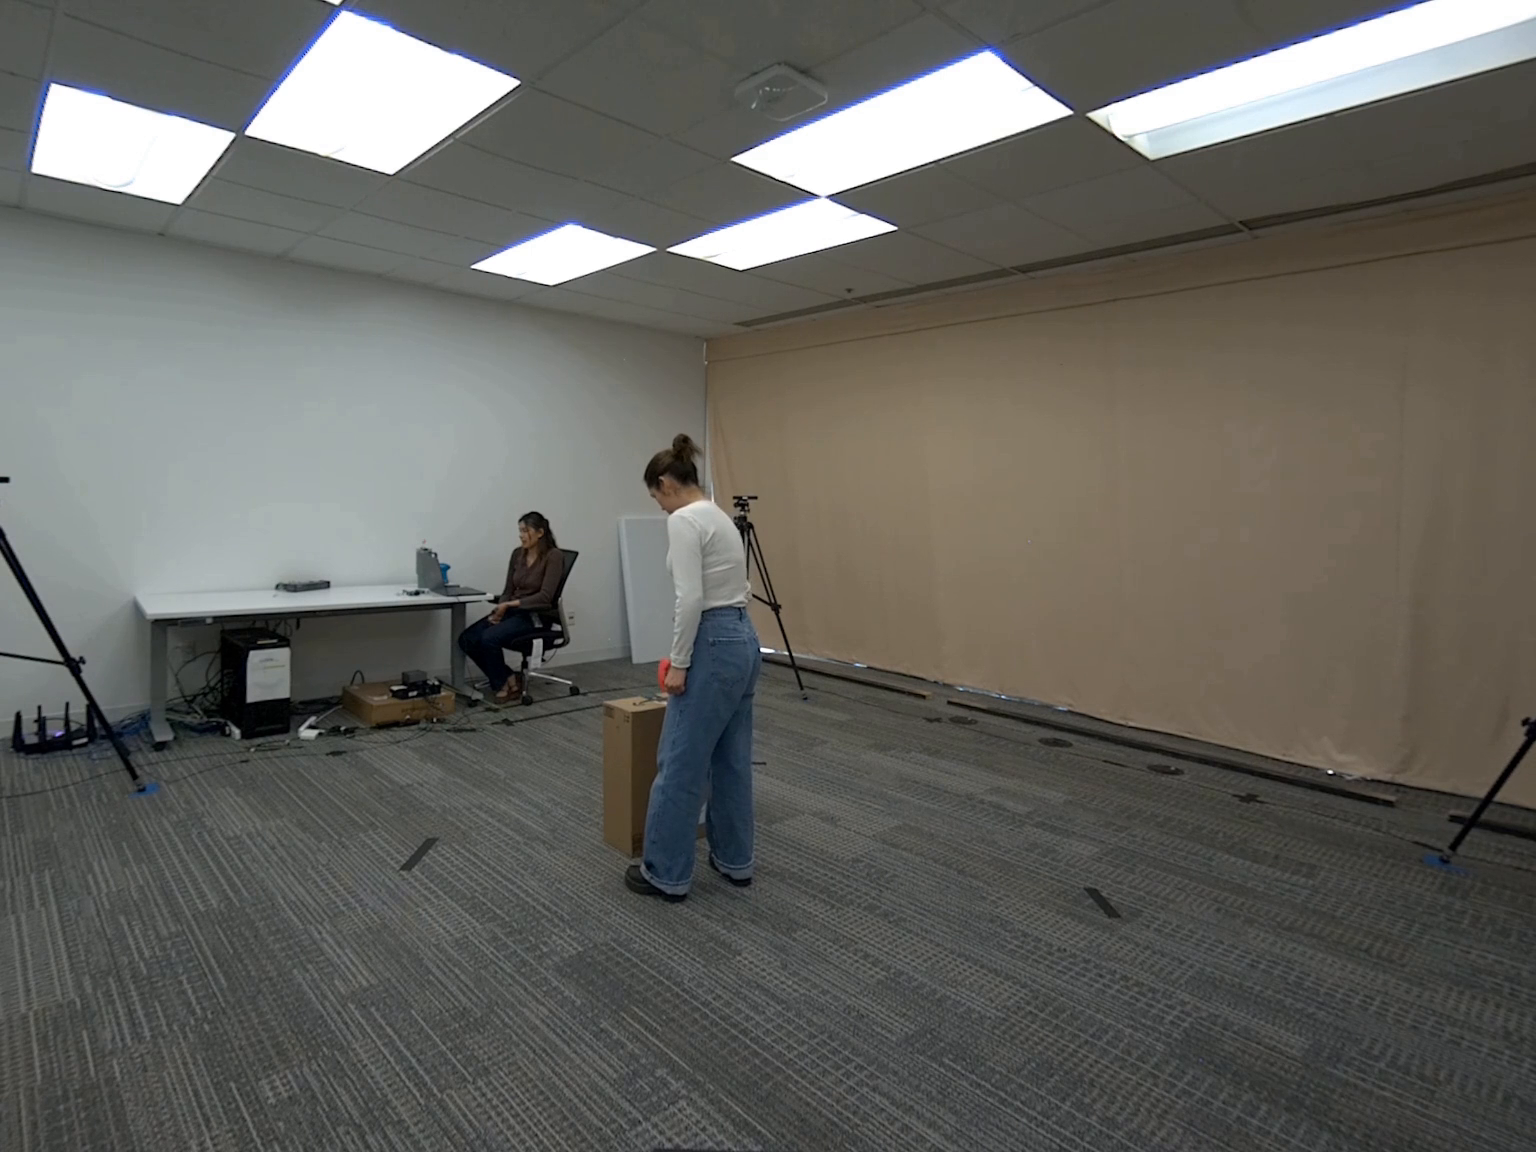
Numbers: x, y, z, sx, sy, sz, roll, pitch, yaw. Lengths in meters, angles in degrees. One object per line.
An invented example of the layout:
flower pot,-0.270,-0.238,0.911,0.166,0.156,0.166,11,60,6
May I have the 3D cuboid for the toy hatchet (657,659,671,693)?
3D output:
toy hatchet,-0.367,0.356,3.339,0.271,0.134,0.029,-38,-33,30
